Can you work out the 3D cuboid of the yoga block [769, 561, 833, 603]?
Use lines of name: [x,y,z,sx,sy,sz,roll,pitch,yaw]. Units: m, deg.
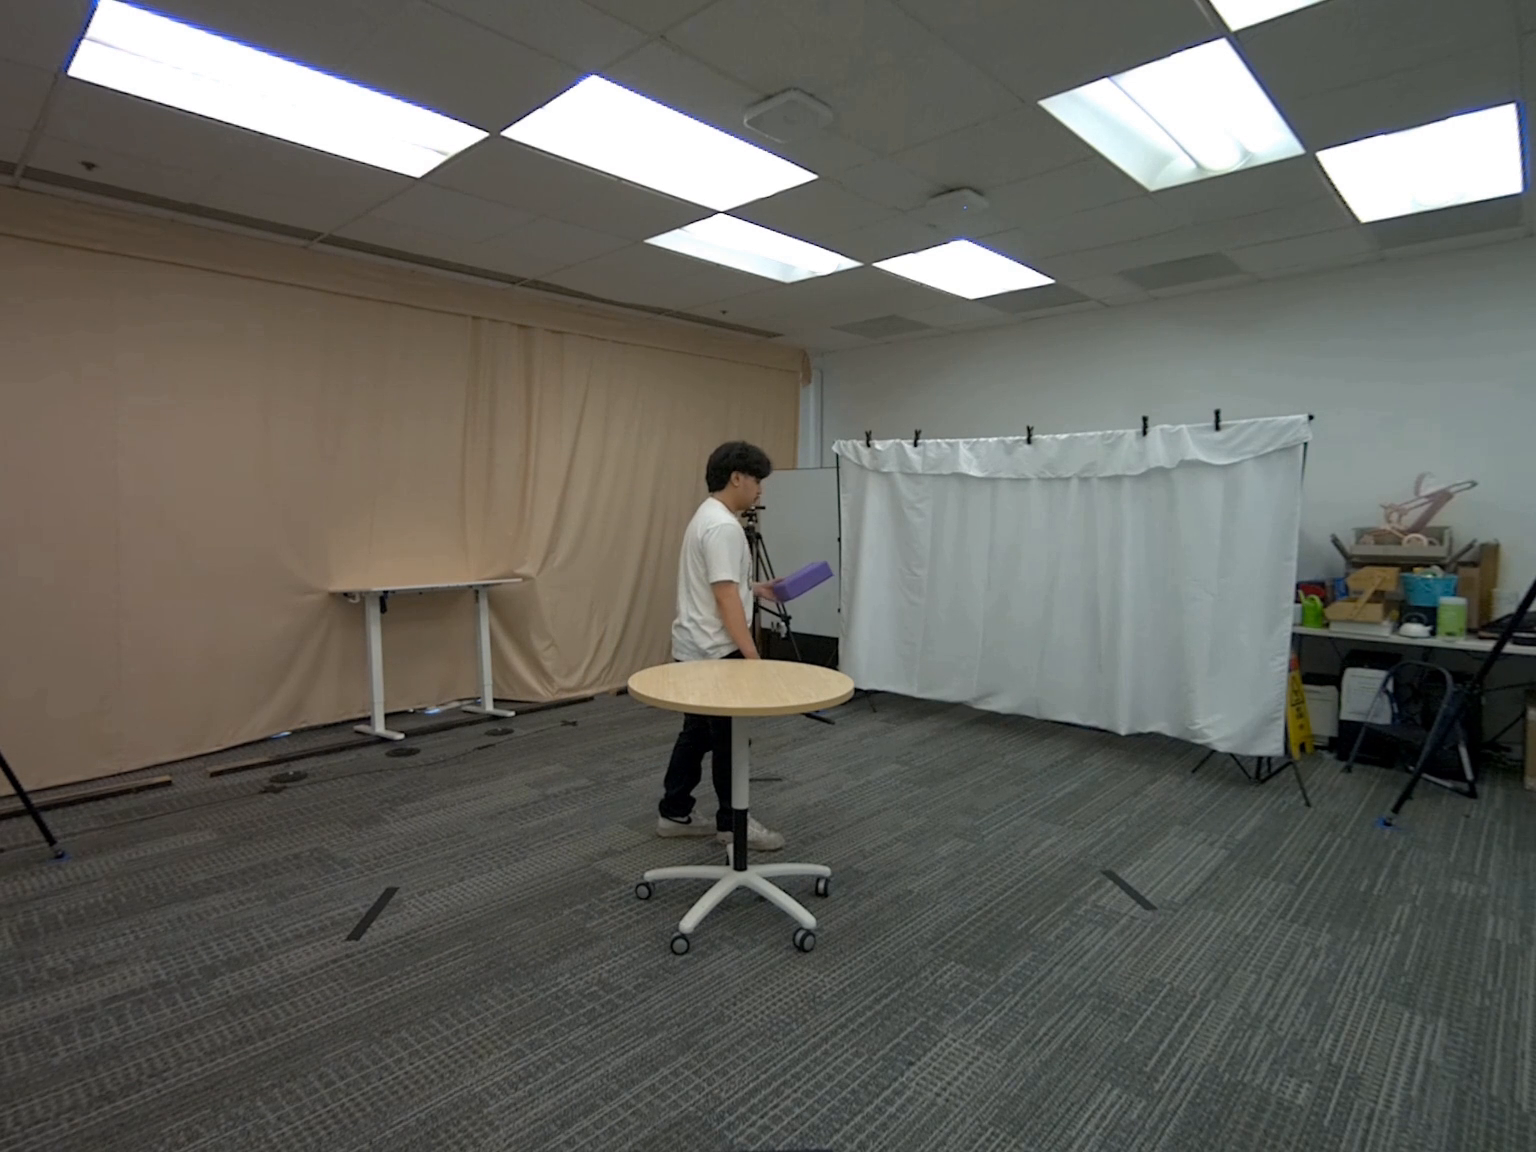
yoga block: [0.150,0.017,3.581,0.227,0.076,0.151,-30,7,-16]
